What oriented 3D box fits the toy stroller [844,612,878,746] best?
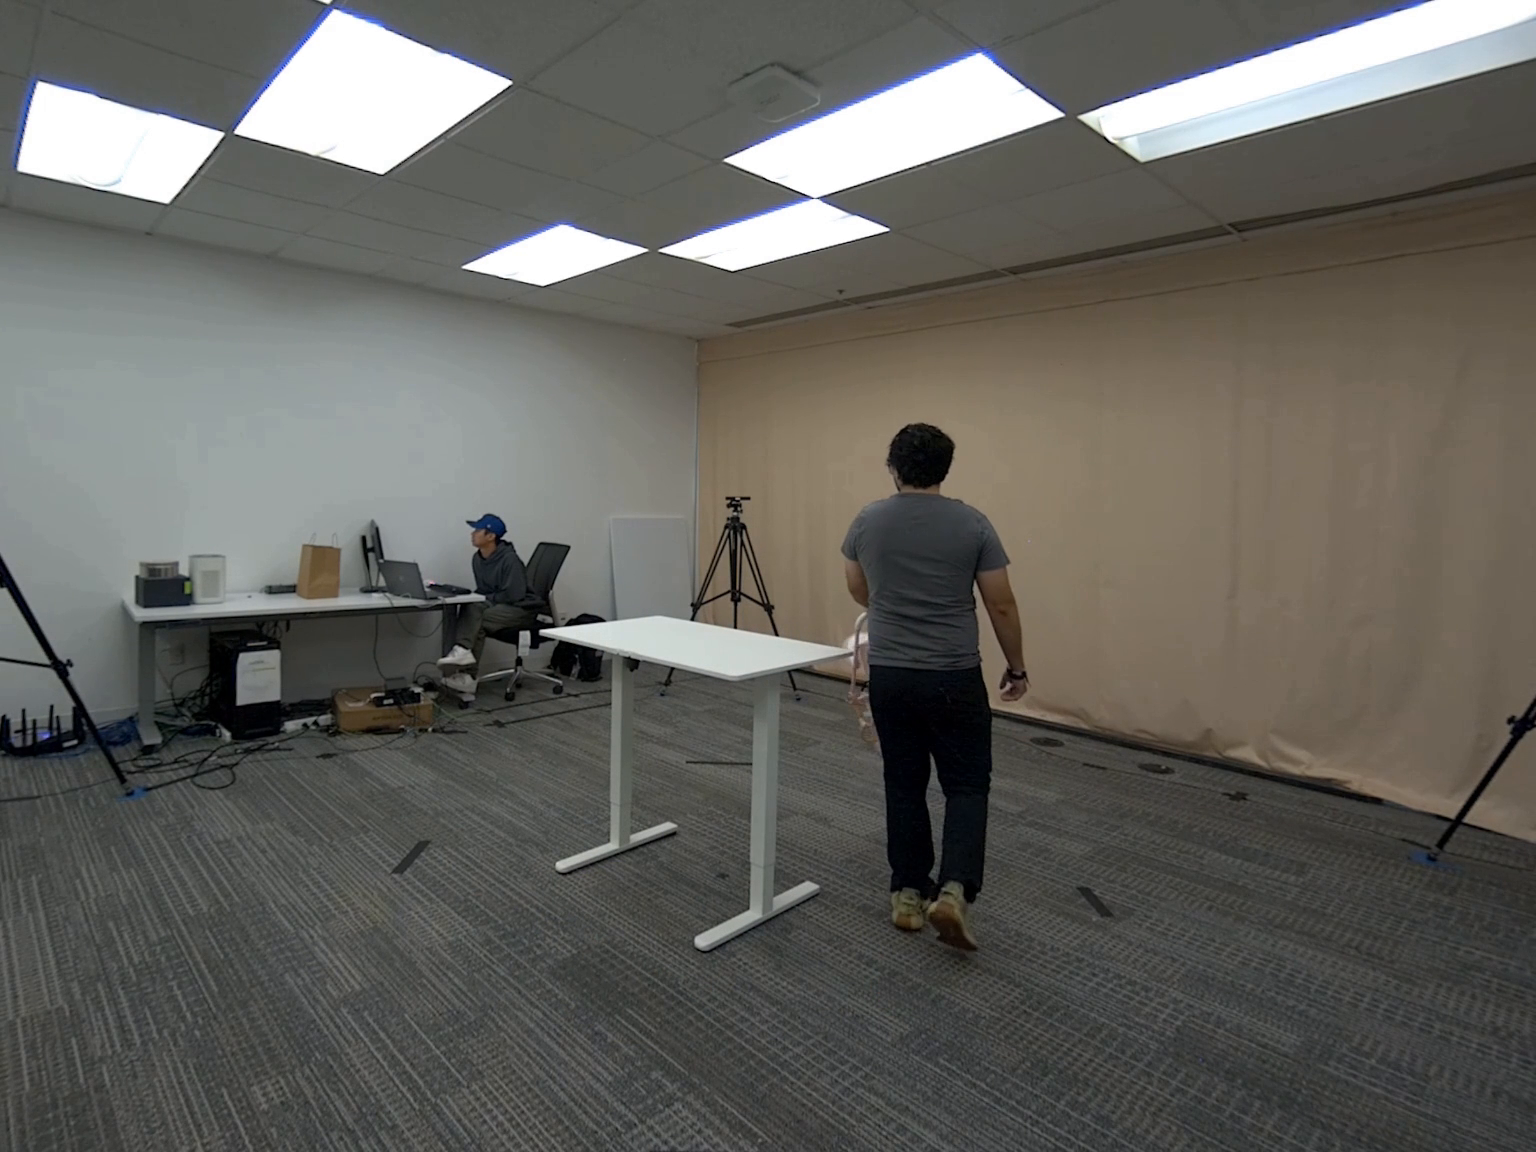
[{"bbox_3d":[0.439,0.435,3.270,0.277,0.543,0.341,-11,-18,-23],"label":"toy stroller"}]
